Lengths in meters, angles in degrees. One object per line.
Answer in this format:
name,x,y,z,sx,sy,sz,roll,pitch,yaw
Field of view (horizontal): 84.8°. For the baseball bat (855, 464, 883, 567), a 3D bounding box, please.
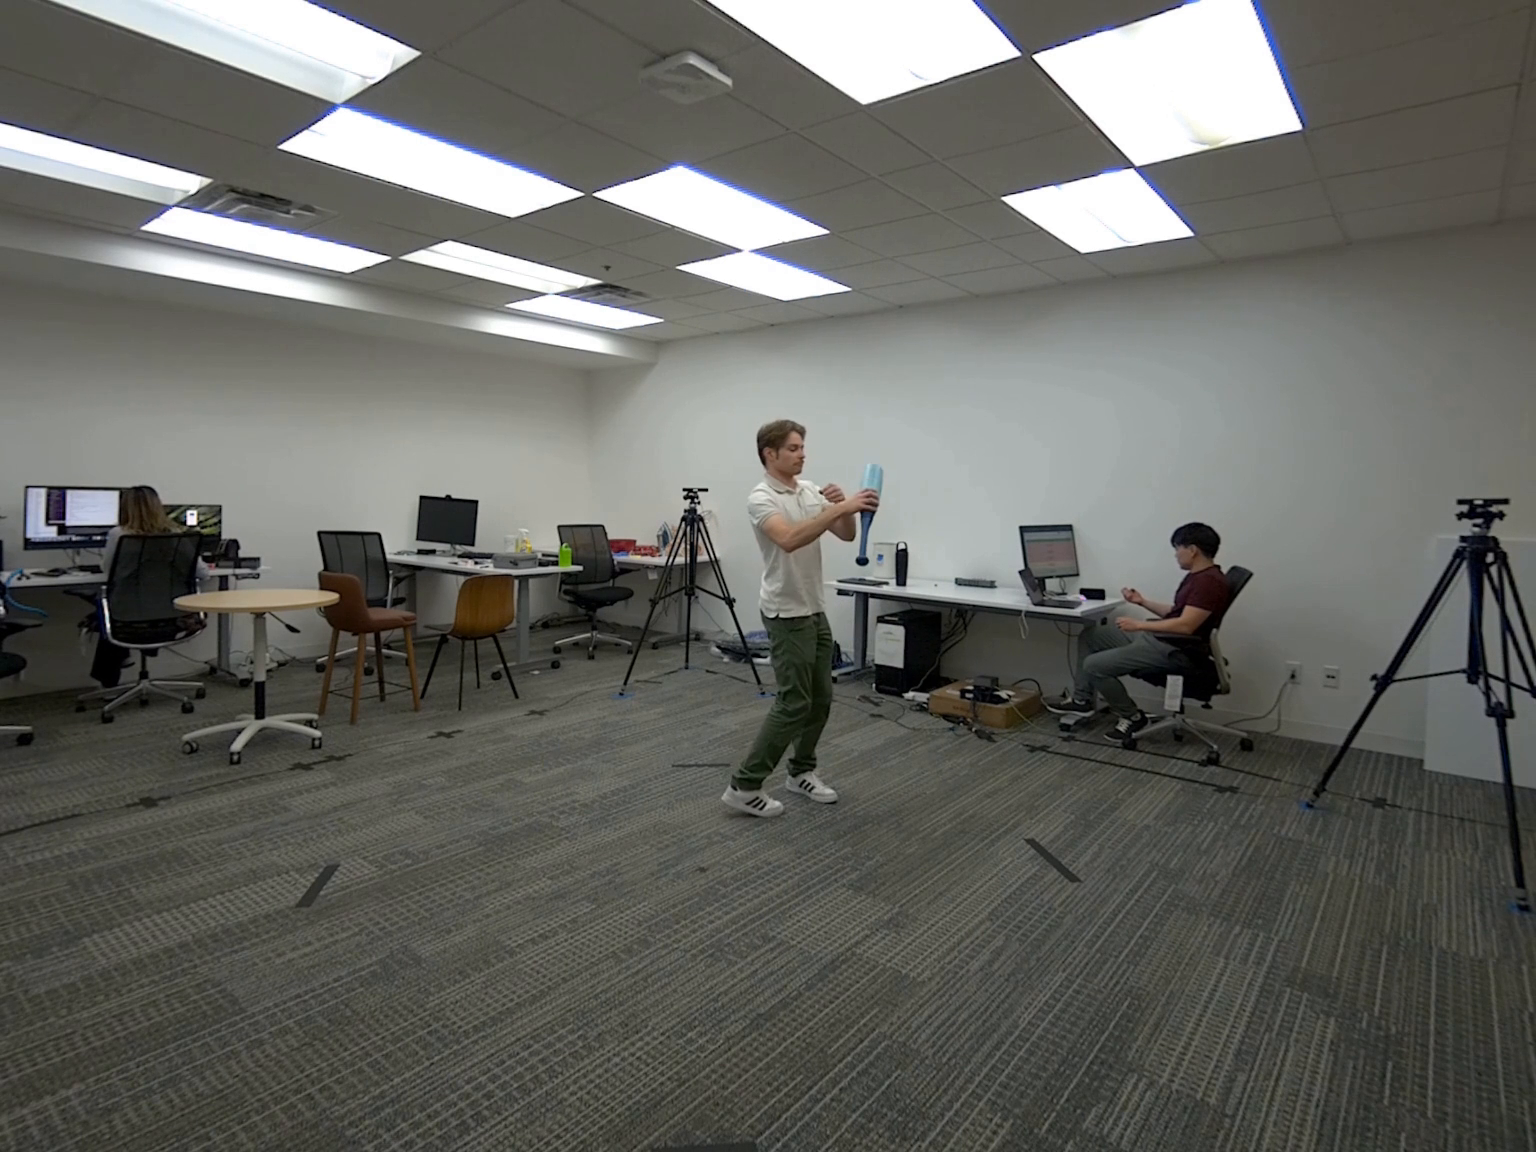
baseball bat,0.390,-0.251,3.430,0.090,0.554,0.086,1,-42,12
